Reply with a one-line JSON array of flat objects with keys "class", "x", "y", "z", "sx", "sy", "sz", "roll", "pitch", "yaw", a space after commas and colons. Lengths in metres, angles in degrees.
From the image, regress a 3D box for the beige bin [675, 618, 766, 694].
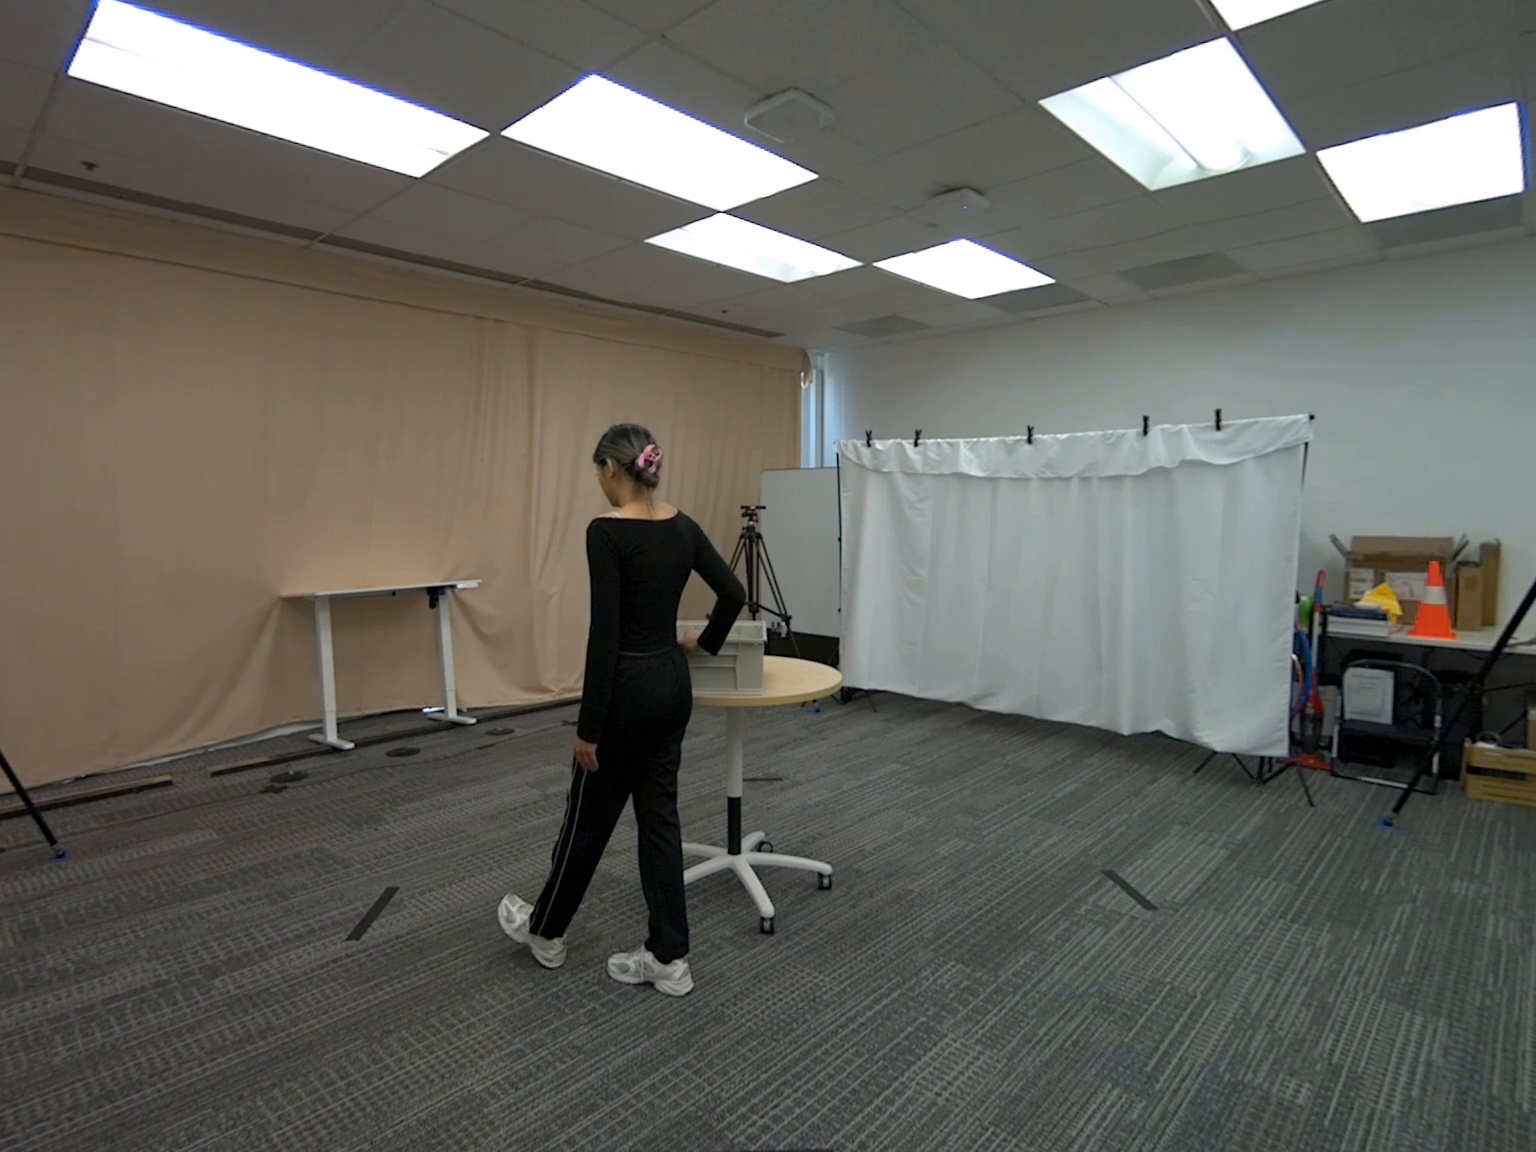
[{"class": "beige bin", "x": -0.220, "y": 0.270, "z": 2.864, "sx": 0.378, "sy": 0.188, "sz": 0.422, "roll": 2, "pitch": 4, "yaw": 1}]
